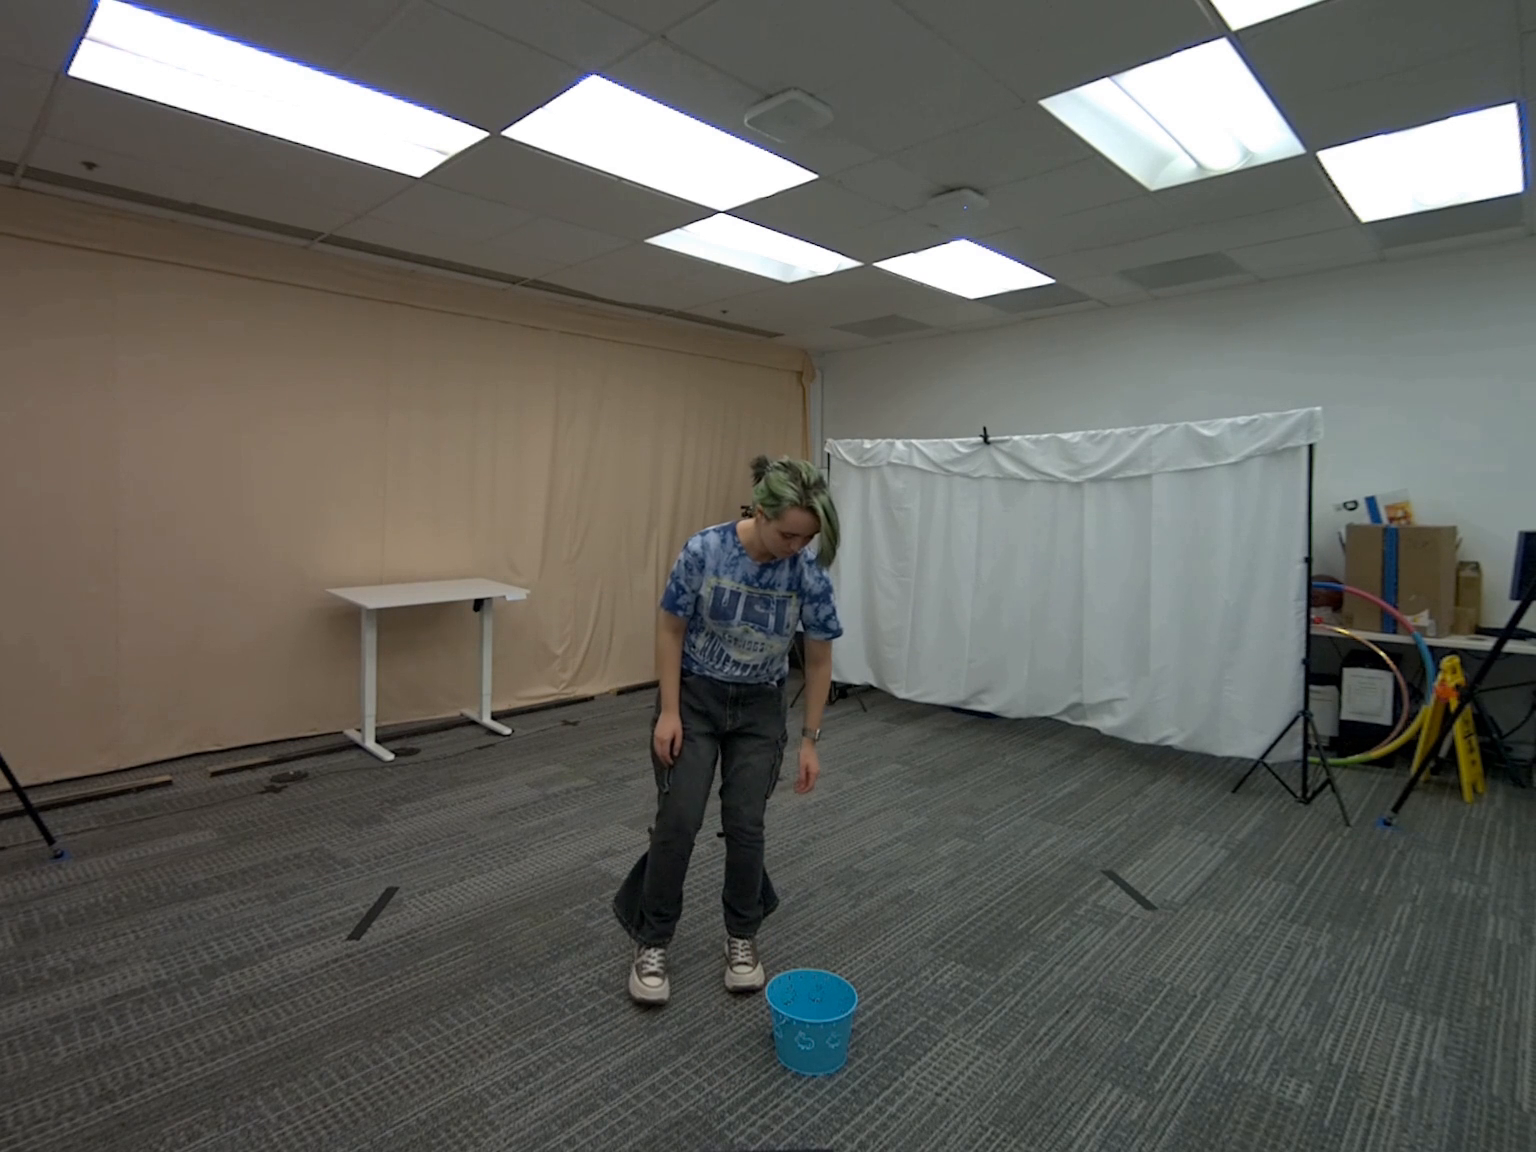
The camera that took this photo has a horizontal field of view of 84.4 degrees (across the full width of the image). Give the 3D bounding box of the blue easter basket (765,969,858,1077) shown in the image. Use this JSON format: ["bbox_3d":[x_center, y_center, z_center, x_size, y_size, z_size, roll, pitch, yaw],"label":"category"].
[{"bbox_3d":[0.114,1.136,2.147,0.243,0.155,0.244,1,4,-2],"label":"blue easter basket"}]
